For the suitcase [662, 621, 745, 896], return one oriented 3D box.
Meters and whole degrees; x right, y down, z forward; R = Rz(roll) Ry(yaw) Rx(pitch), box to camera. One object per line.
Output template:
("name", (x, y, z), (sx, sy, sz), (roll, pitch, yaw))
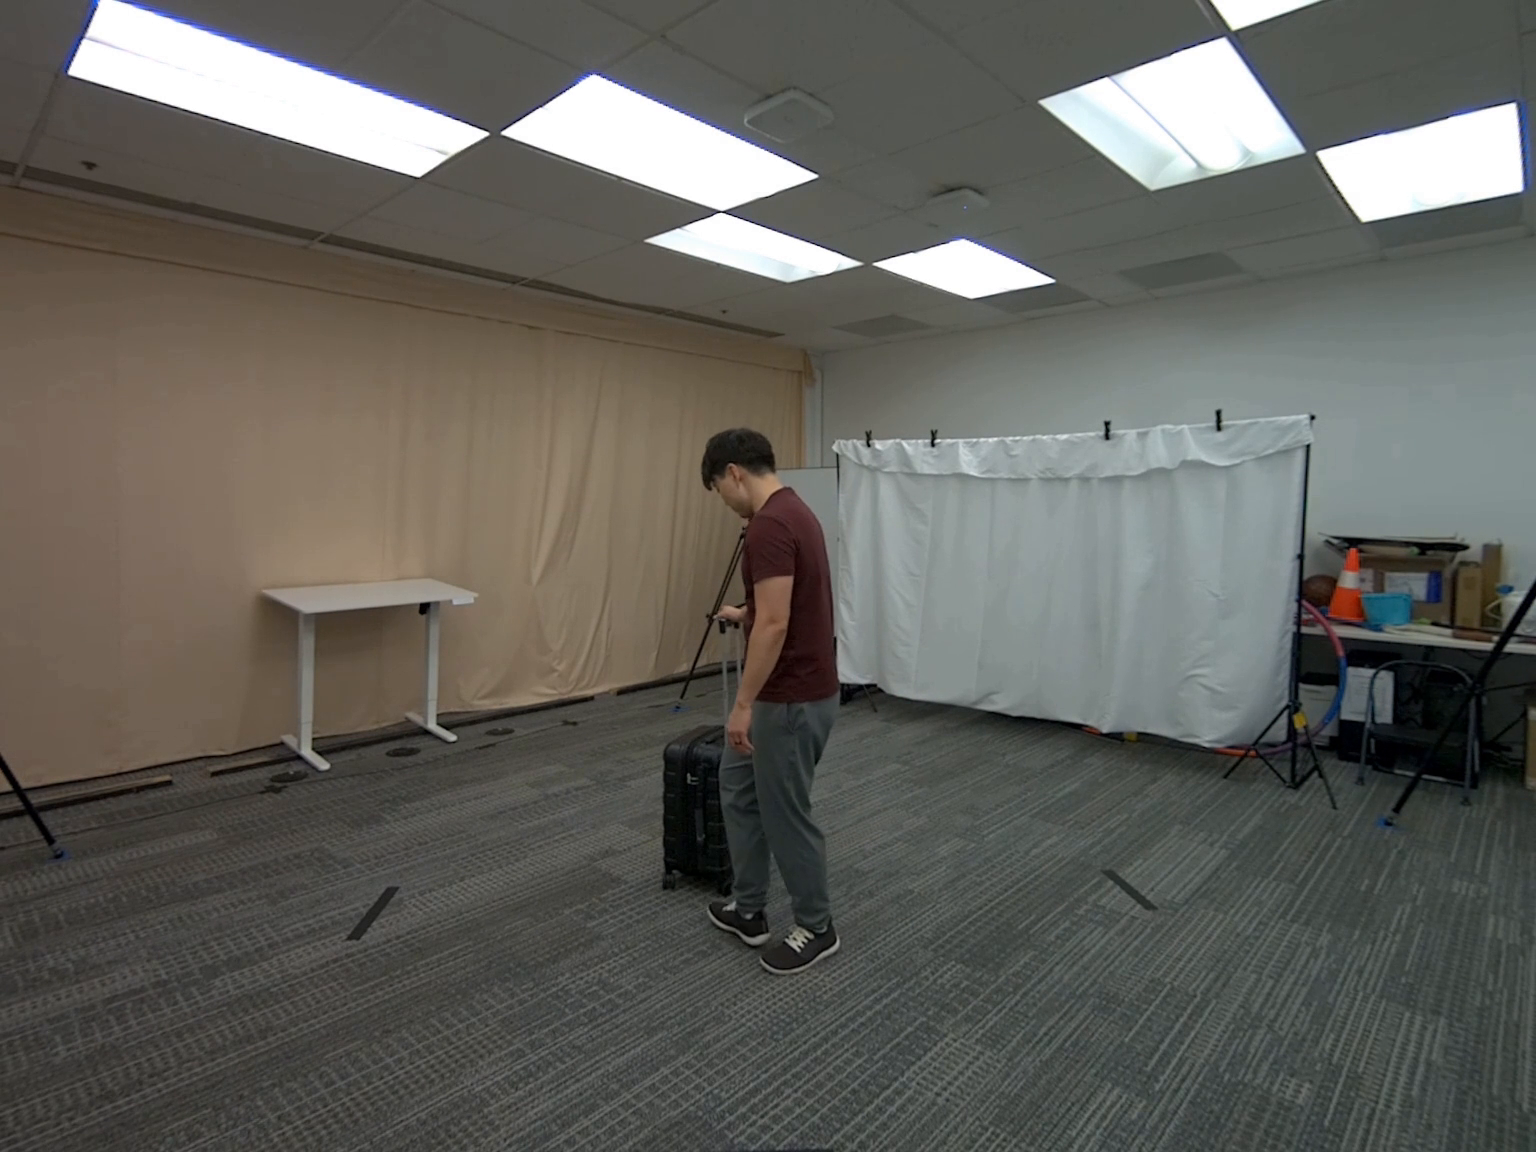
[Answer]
("suitcase", (-0.229, 0.654, 3.158), (0.263, 0.977, 0.376), (-1, 3, 22))
